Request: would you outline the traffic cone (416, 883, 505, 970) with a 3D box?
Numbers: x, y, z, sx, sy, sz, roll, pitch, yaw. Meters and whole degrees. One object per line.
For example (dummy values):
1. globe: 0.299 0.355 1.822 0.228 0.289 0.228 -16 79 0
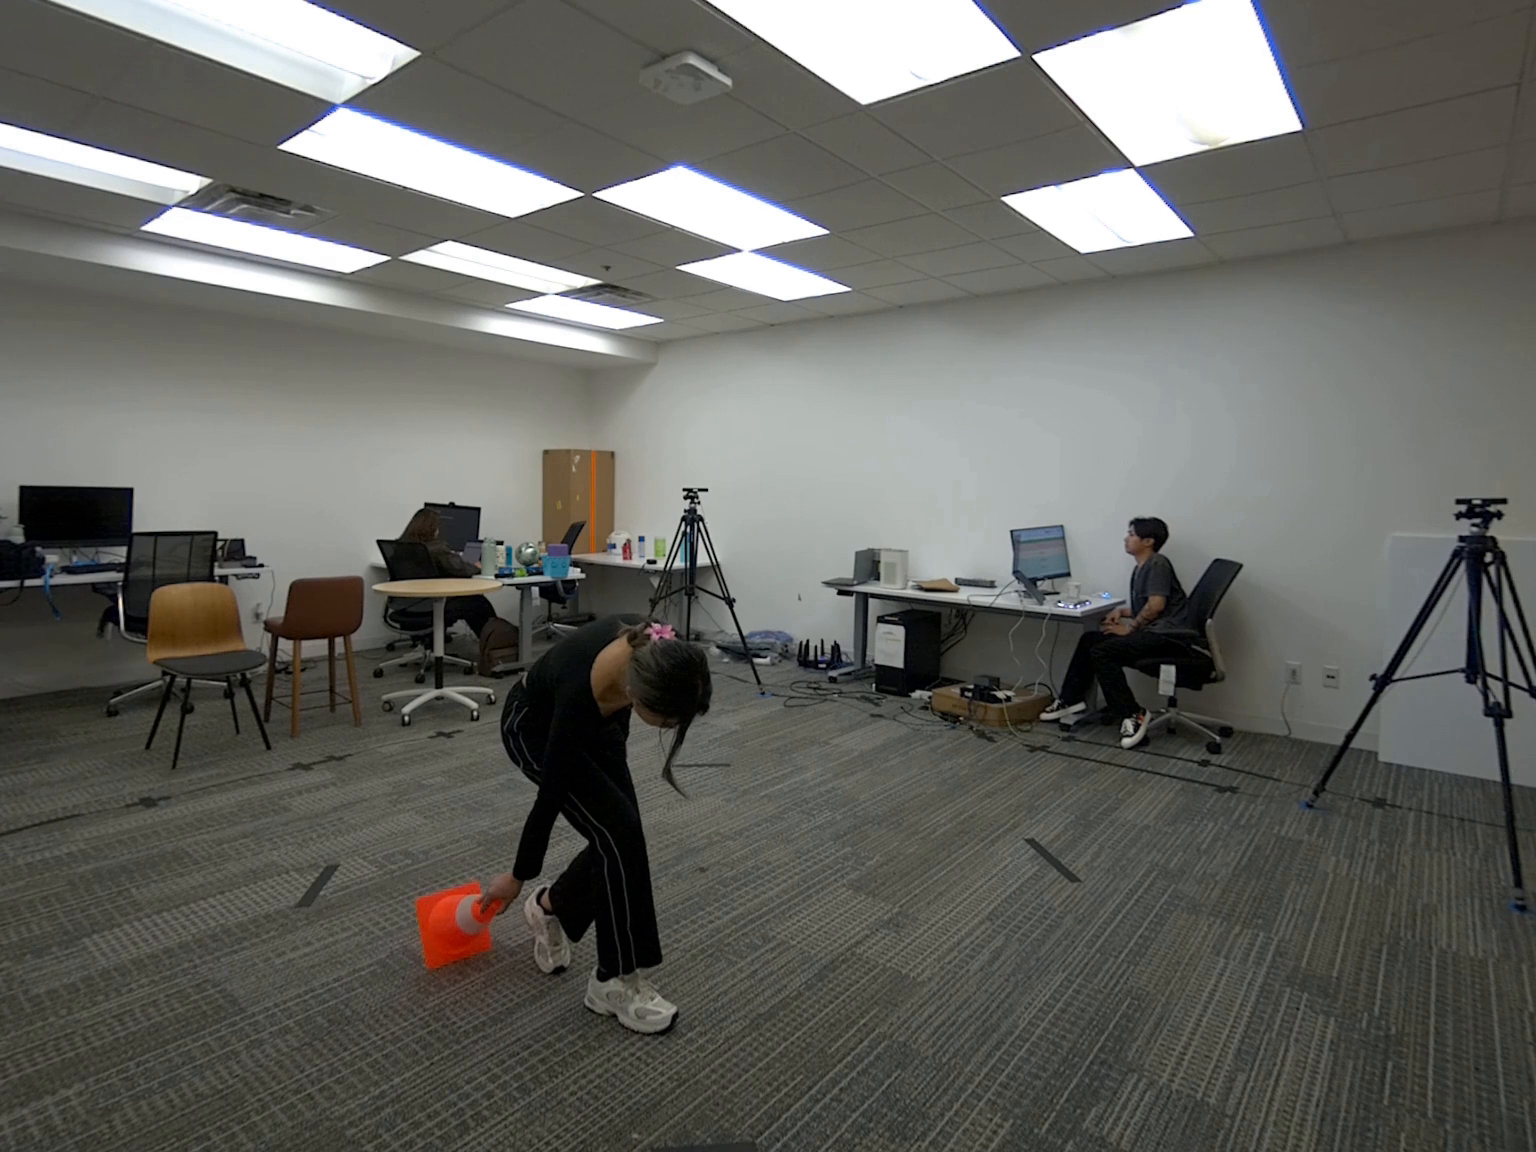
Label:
1. traffic cone: -0.840 0.953 2.400 0.198 0.209 0.386 8 -31 -35
